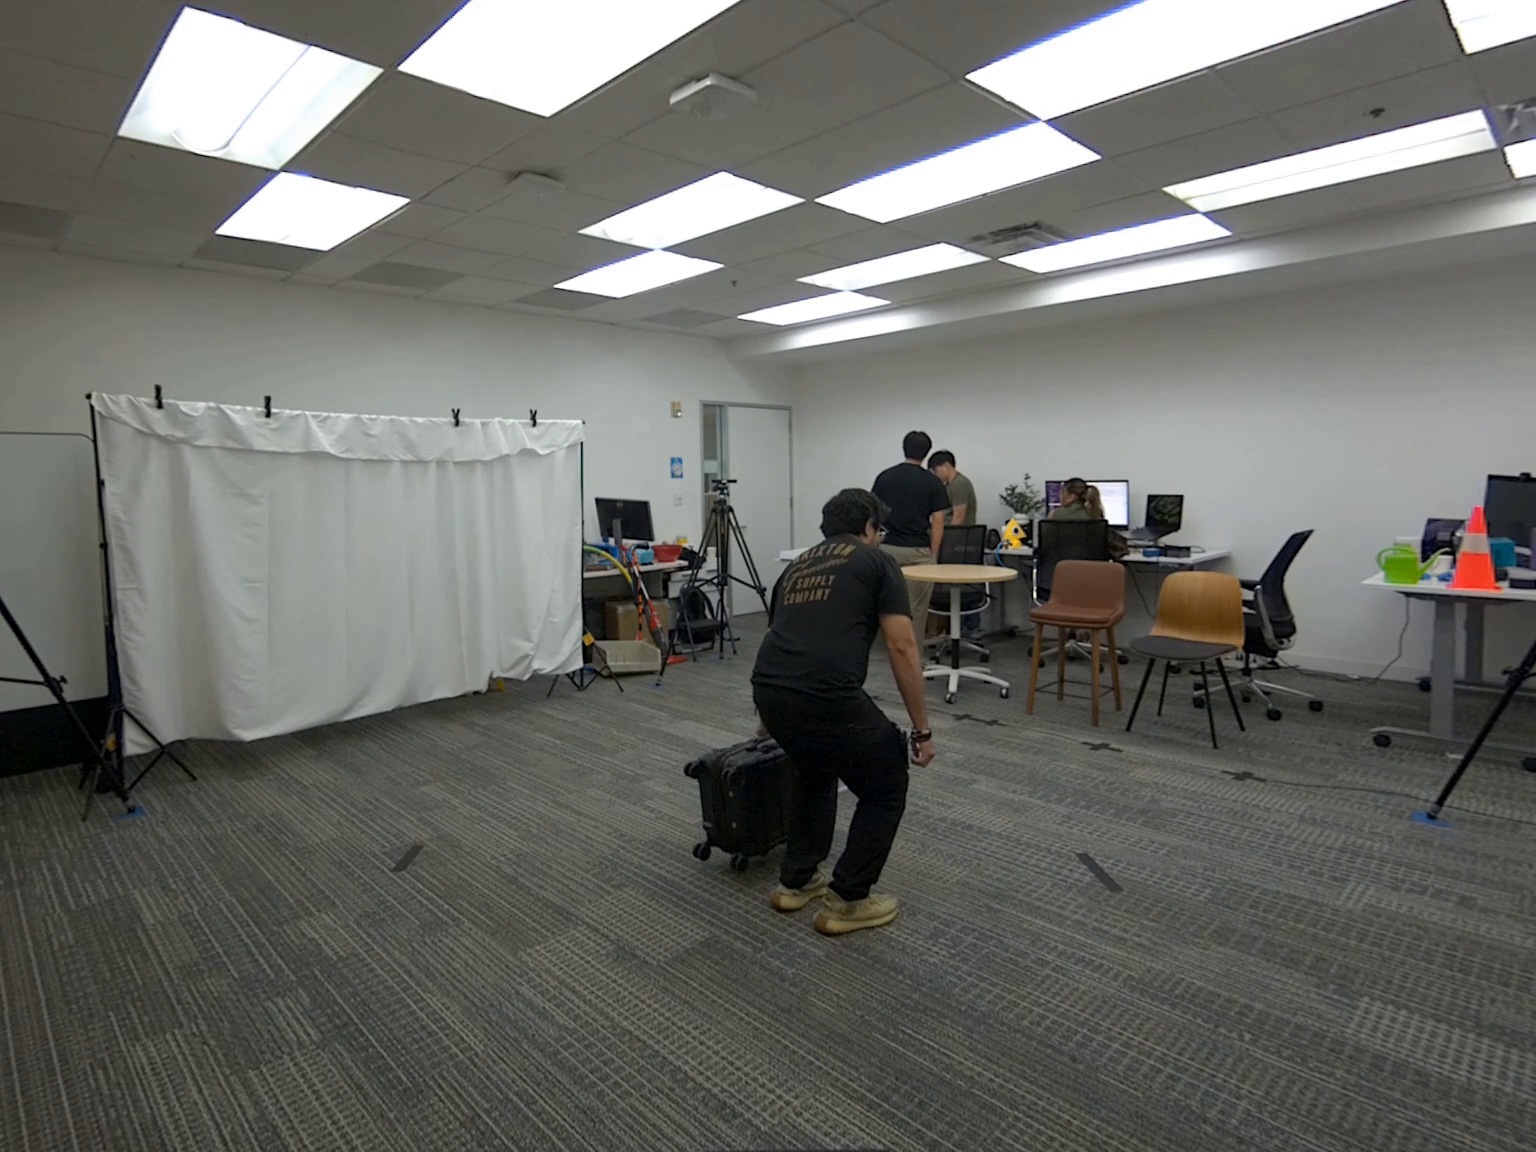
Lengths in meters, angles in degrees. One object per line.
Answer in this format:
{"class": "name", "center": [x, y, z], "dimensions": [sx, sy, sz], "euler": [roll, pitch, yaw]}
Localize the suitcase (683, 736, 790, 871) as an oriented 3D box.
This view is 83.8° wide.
{"class": "suitcase", "center": [0.136, 0.762, 3.281], "dimensions": [0.954, 0.384, 0.264], "euler": [-9, 2, -43]}
